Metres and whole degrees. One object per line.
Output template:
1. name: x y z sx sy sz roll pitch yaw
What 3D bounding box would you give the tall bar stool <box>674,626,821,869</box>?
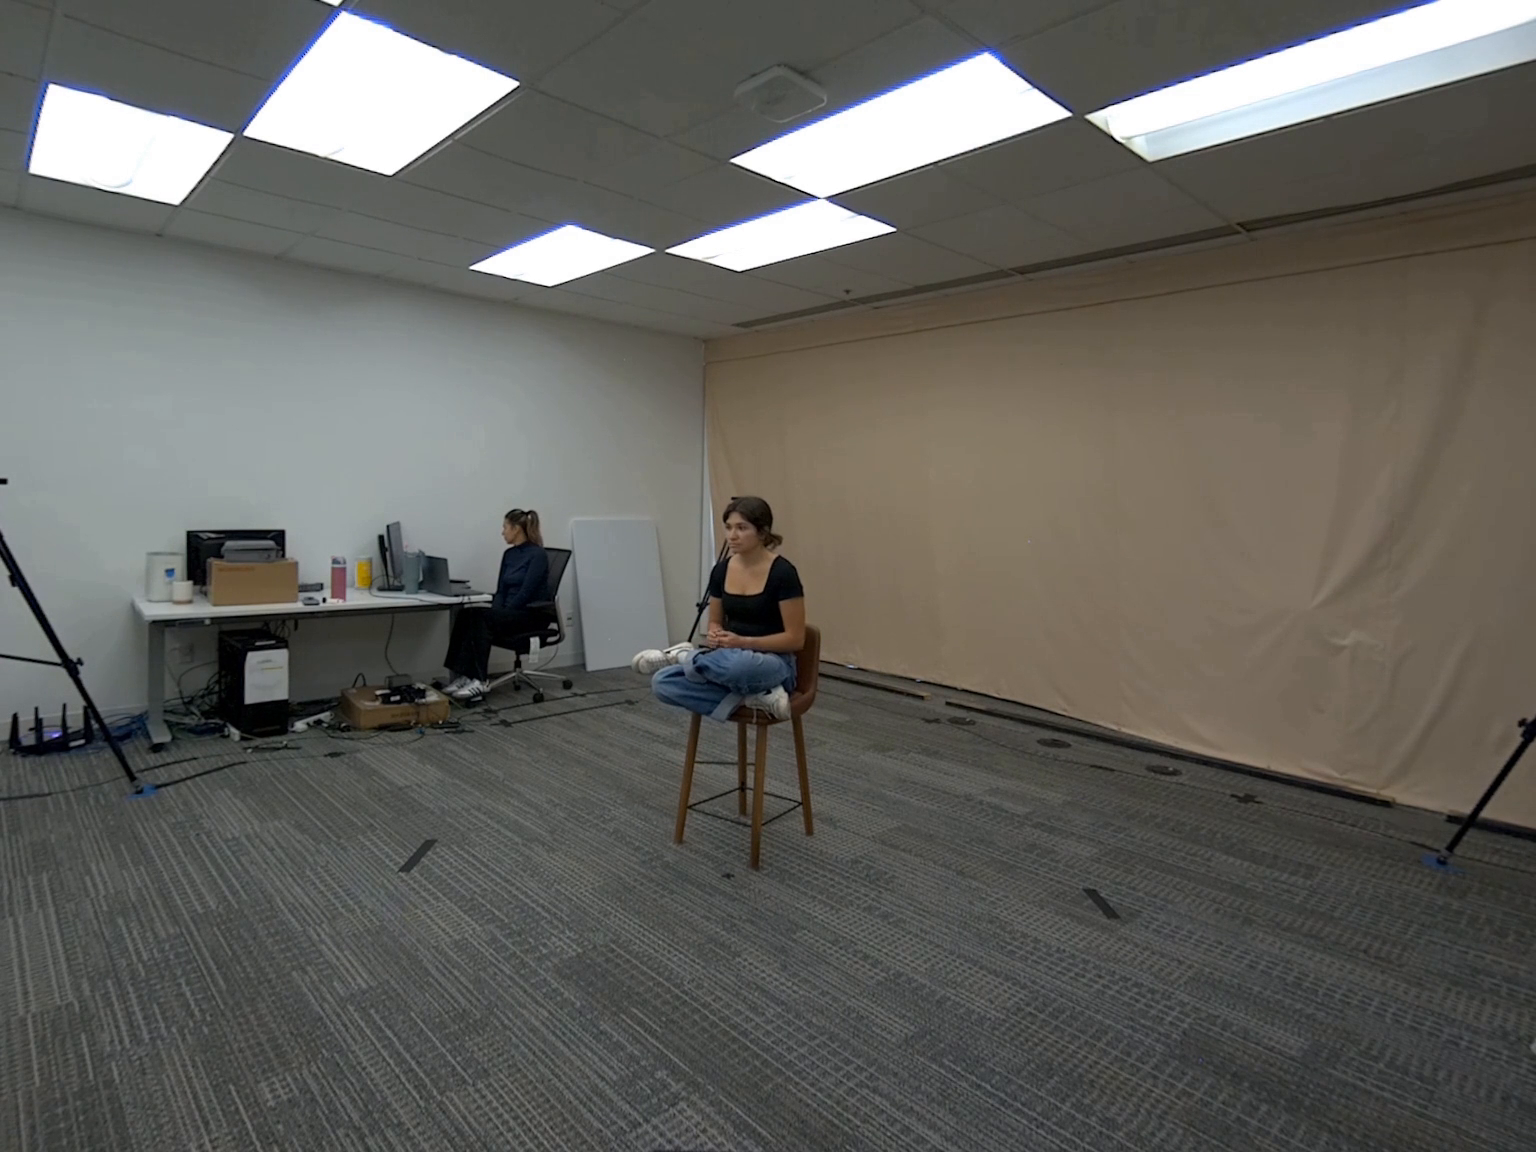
1. tall bar stool: -0.074 0.646 3.437 0.467 0.889 0.457 4 2 36
